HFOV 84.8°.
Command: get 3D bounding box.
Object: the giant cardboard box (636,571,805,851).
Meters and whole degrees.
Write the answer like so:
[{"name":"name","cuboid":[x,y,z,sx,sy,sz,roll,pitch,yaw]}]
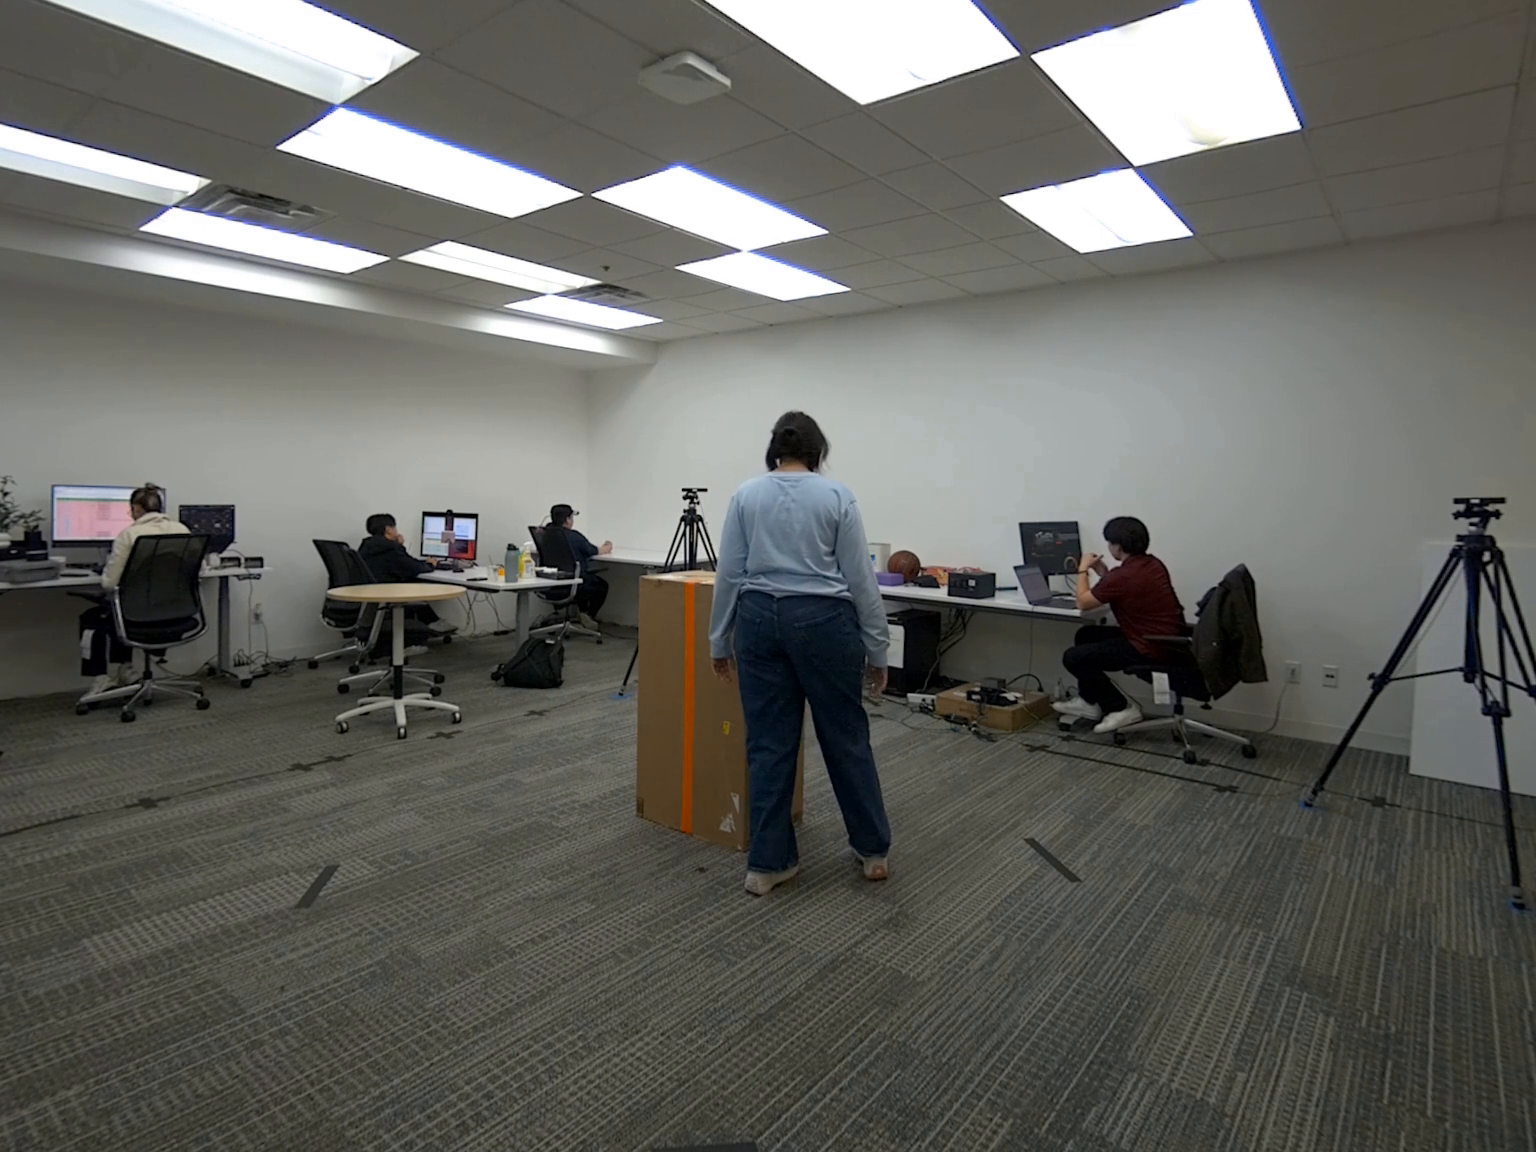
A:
[{"name":"giant cardboard box","cuboid":[-0.212,0.515,3.577,0.603,1.024,0.434,3,4,38]}]
